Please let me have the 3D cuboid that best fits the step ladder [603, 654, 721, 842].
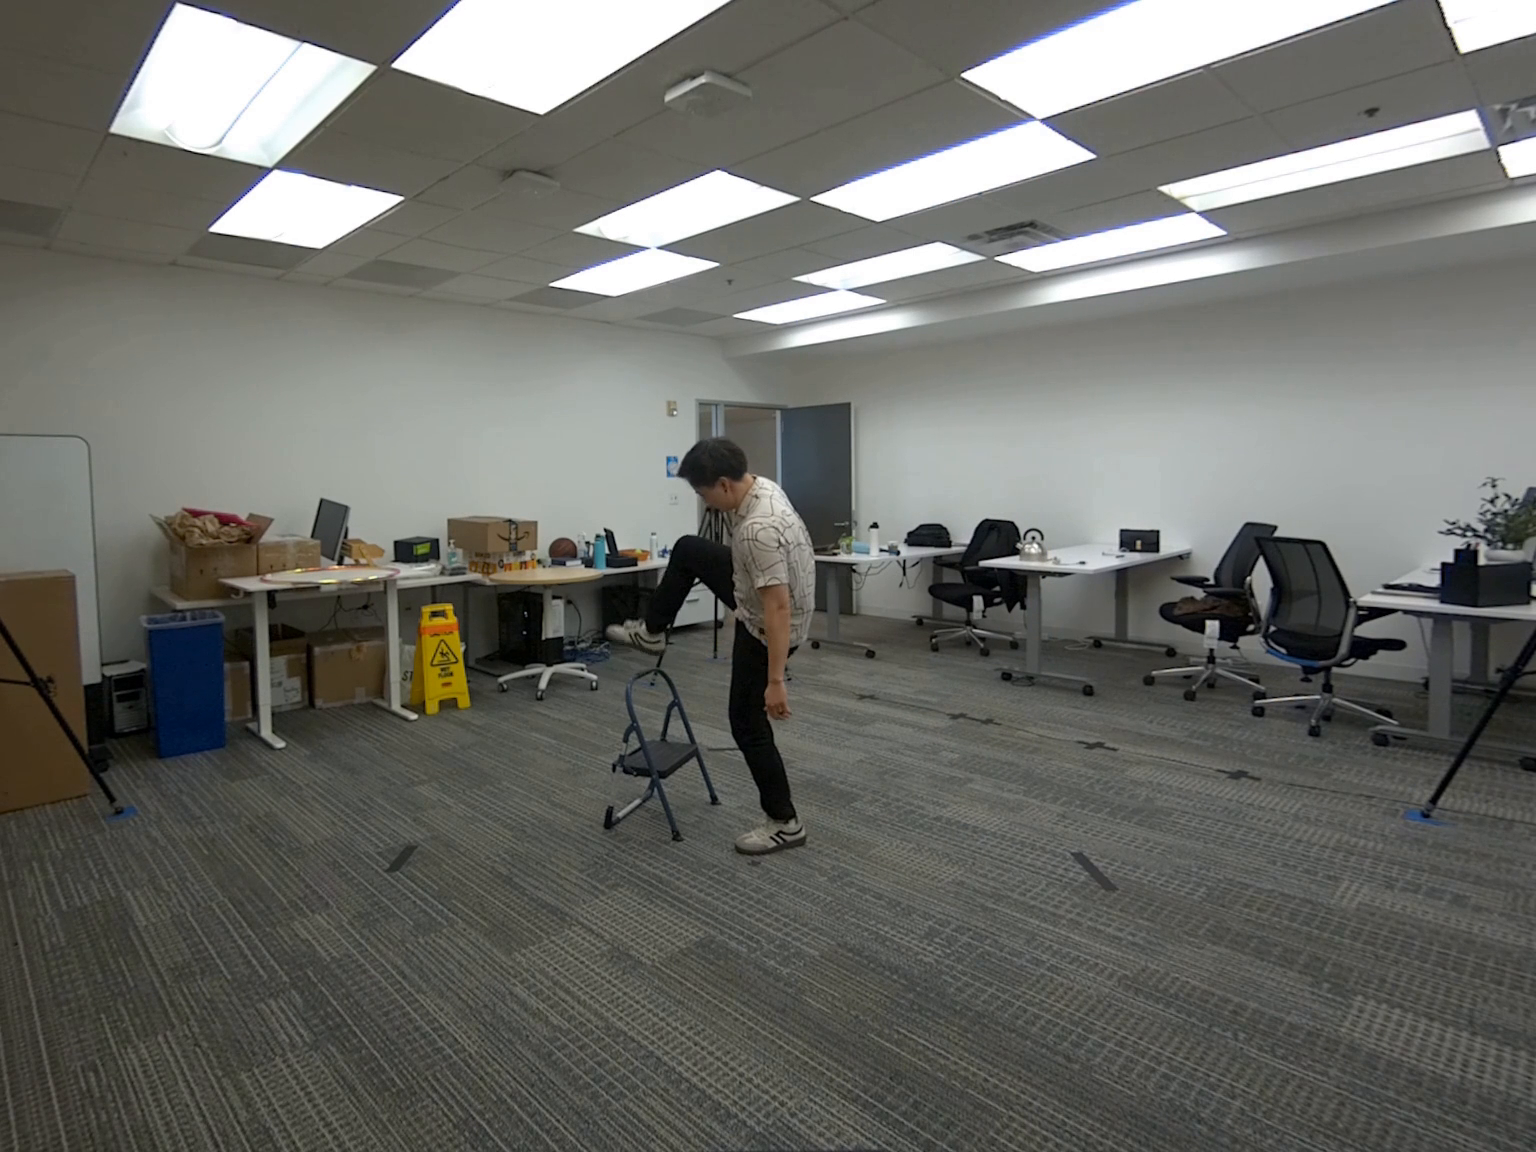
[{"bbox_3d":[-0.446,0.696,3.547,0.356,0.604,0.424,0,4,19],"label":"step ladder"}]
